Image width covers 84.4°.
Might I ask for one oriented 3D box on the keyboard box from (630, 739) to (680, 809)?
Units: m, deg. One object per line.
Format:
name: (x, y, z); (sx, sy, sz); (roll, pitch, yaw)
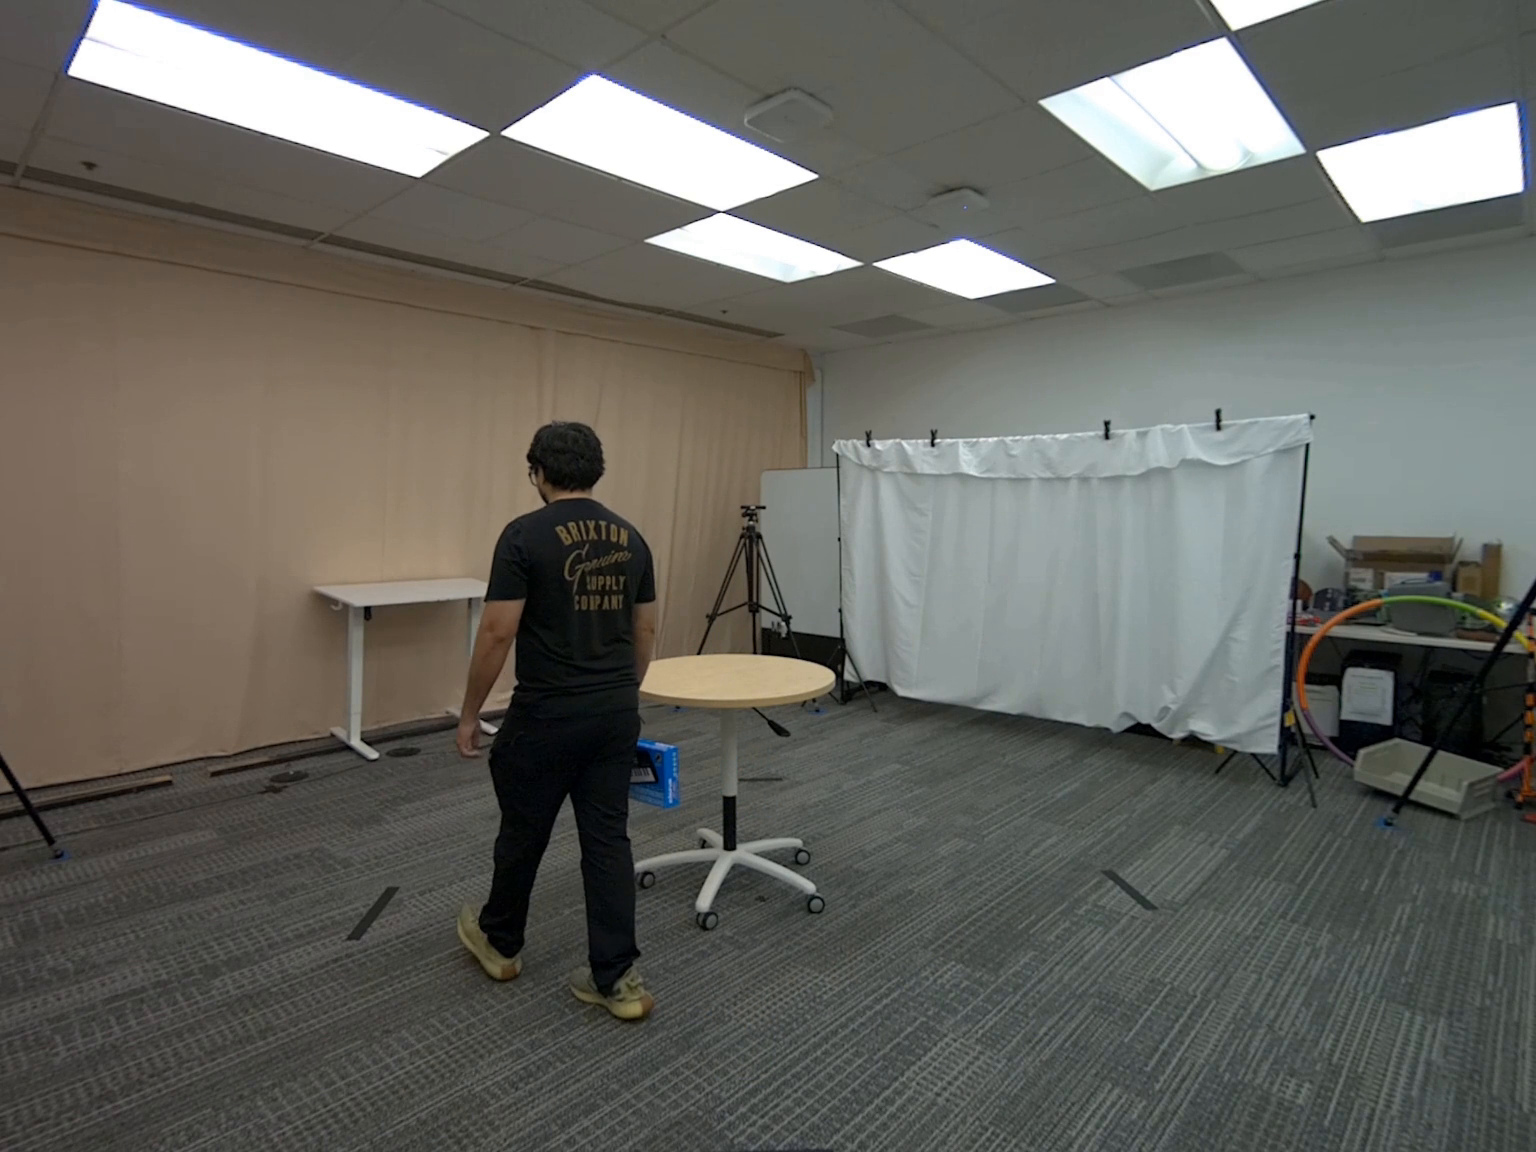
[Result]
keyboard box: (-0.453, 0.595, 2.631); (0.451, 0.176, 0.057); (0, 1, 41)
